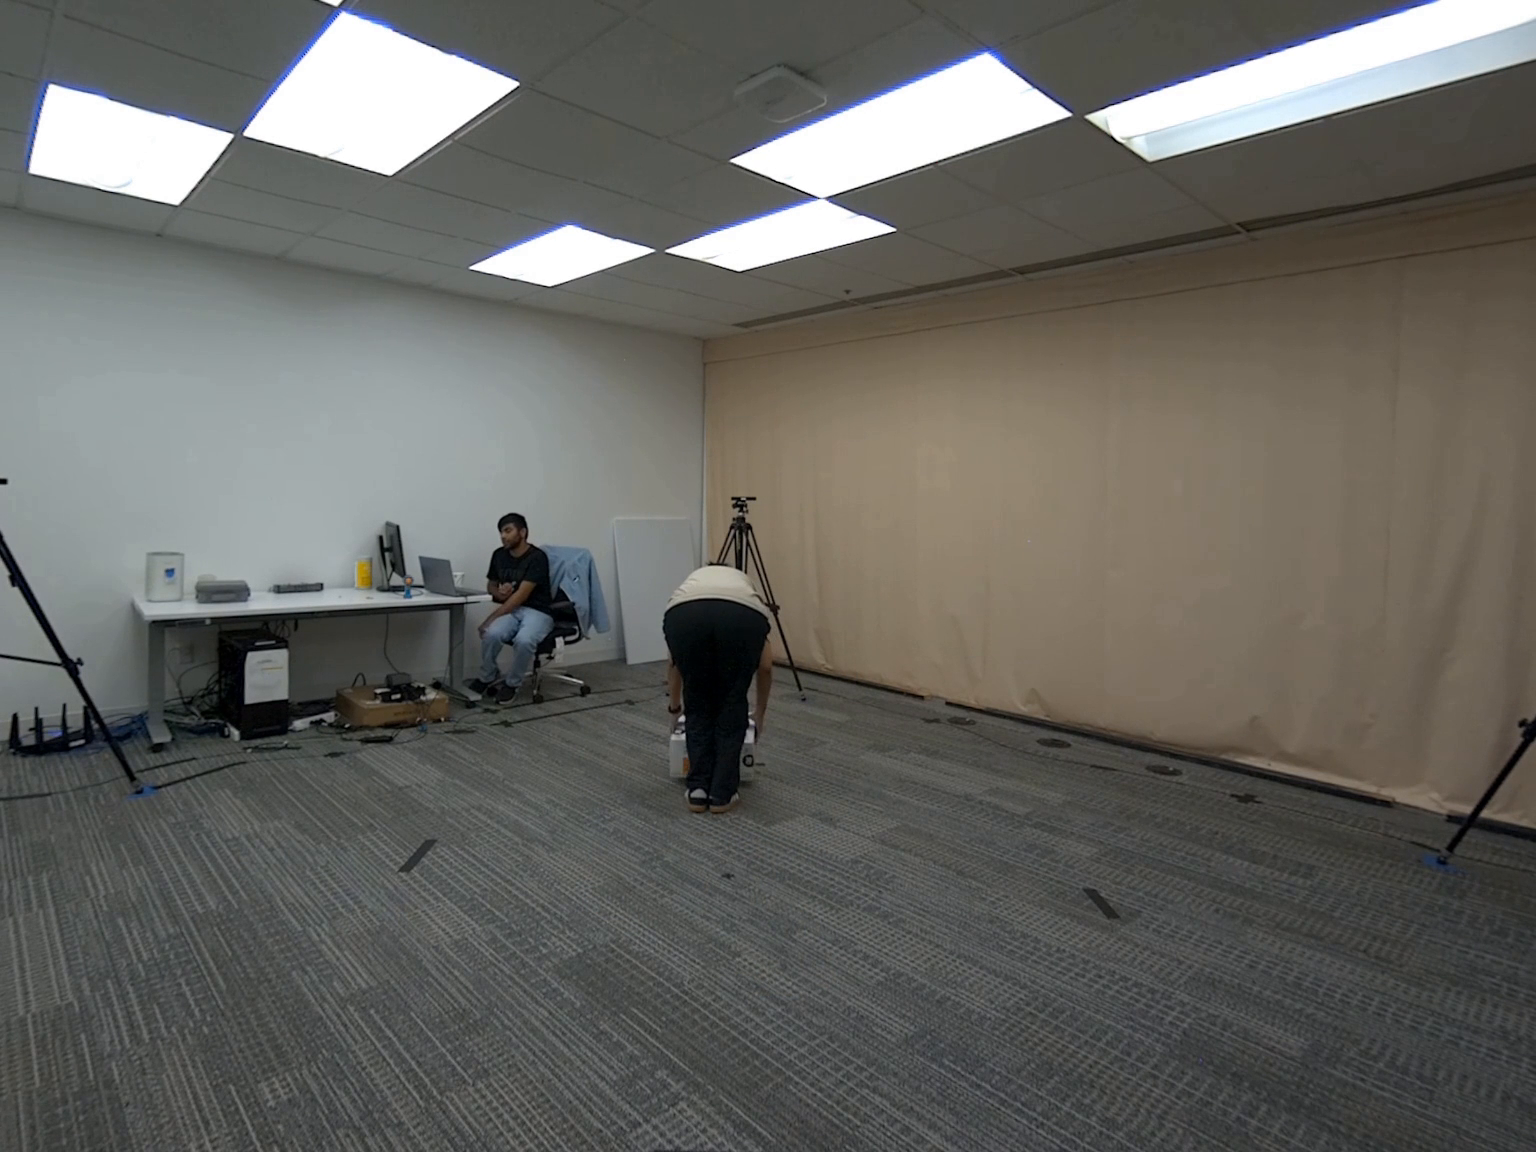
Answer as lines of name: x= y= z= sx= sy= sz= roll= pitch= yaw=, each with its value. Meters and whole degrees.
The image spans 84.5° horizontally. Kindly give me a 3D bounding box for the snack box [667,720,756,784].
snack box: x=-0.273 y=0.842 z=4.200 sx=0.406 sy=0.204 sz=0.342 roll=1 pitch=14 yaw=3
